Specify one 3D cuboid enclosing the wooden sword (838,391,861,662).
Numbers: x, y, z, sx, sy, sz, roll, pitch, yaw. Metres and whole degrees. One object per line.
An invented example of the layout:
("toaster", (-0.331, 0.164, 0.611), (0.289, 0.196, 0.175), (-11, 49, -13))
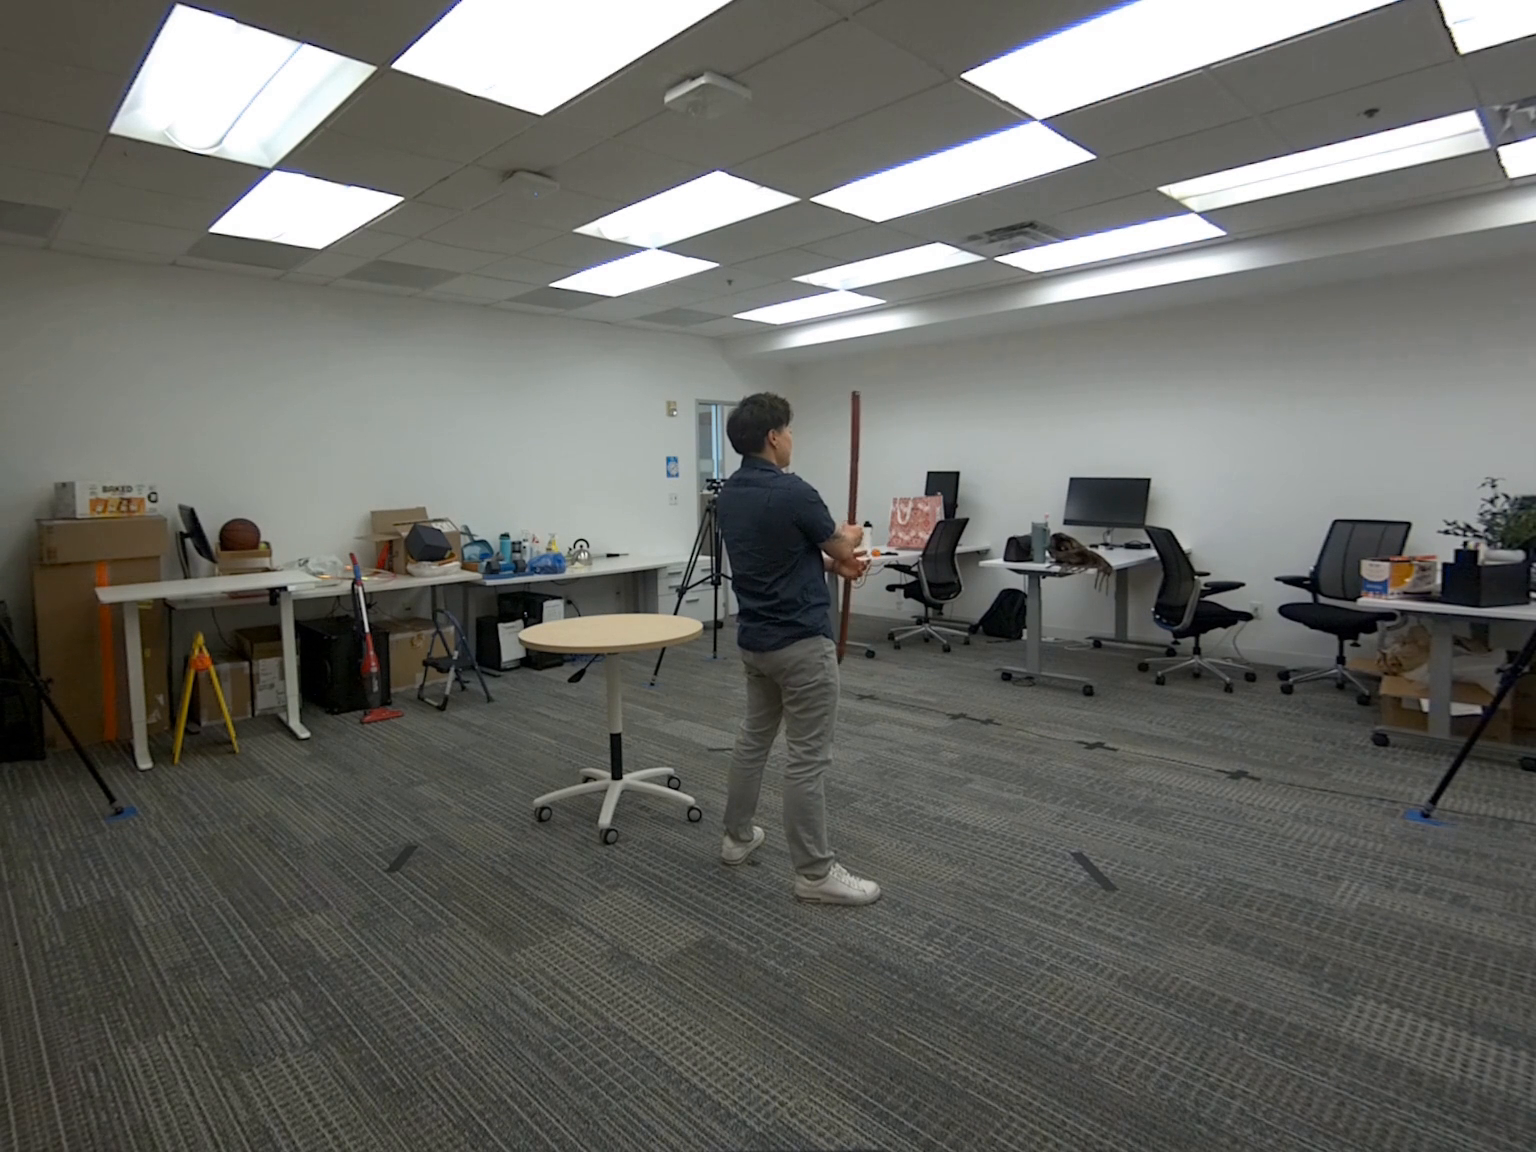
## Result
("wooden sword", (0.318, -0.188, 3.222), (0.050, 1.024, 0.025), (3, 0, -37))
